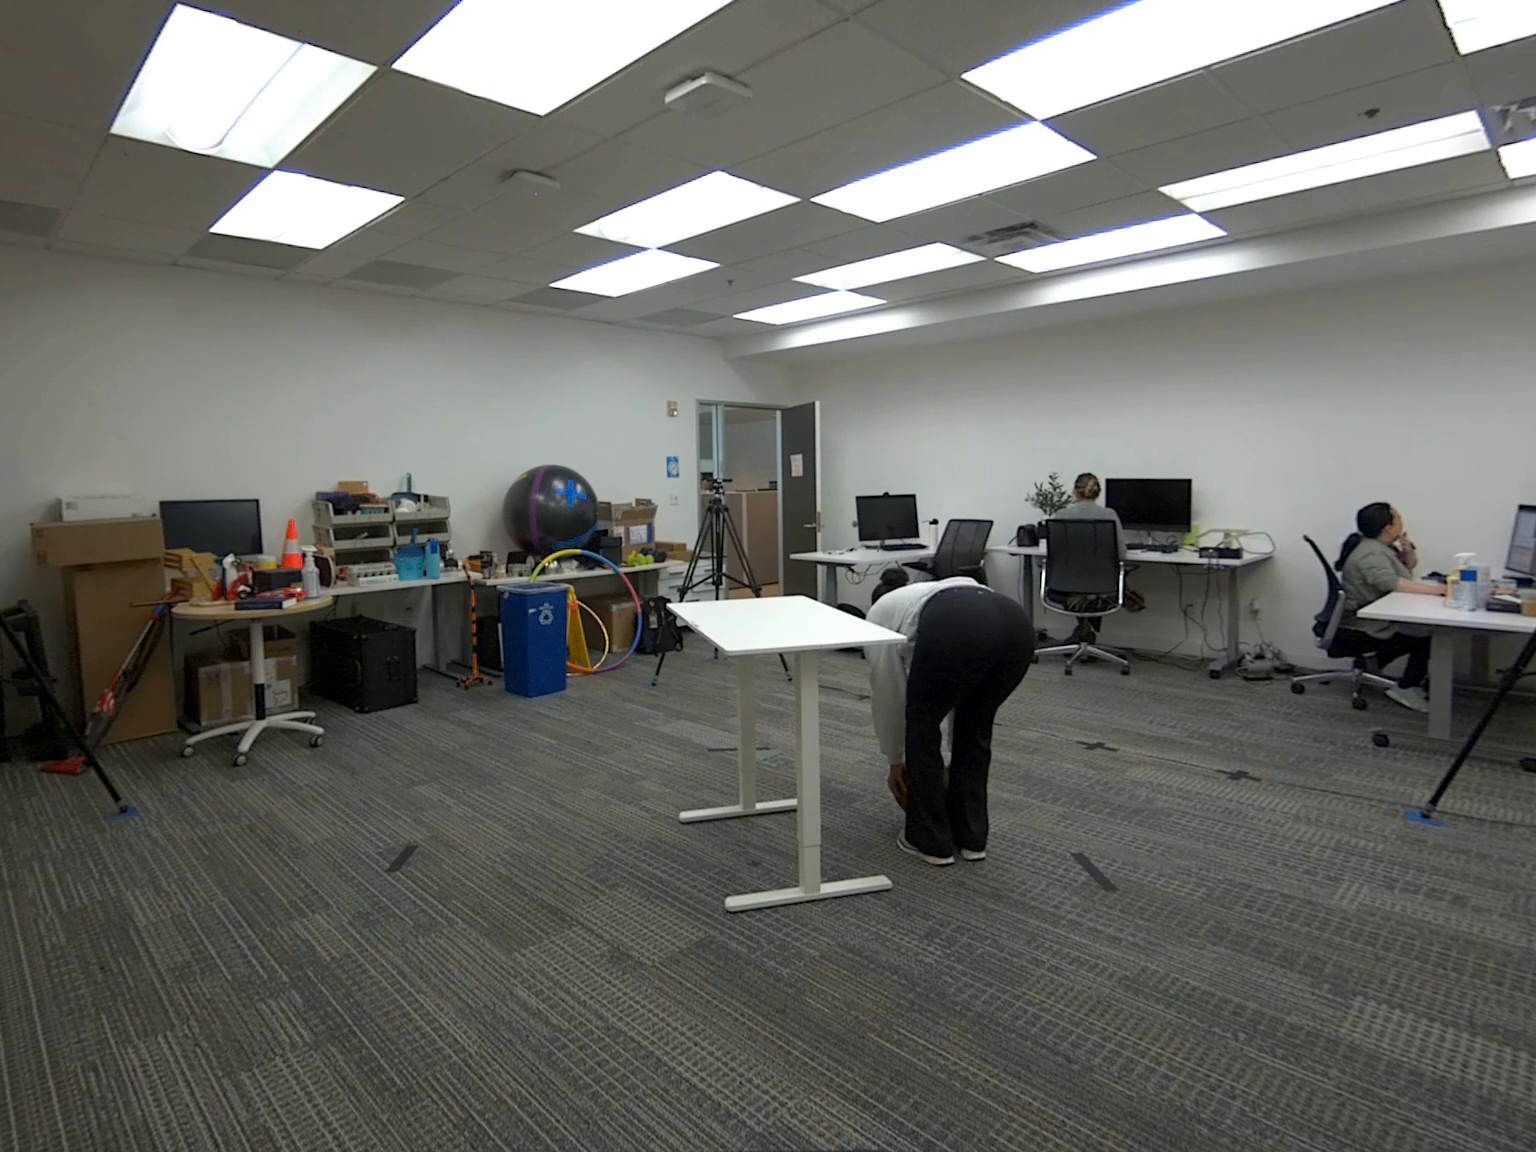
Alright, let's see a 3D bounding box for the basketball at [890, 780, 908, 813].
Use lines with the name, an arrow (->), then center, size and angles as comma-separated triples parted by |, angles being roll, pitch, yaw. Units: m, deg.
basketball -> 0.634, 0.816, 3.377 | 0.236, 0.235, 0.237 | -1, 5, -2
